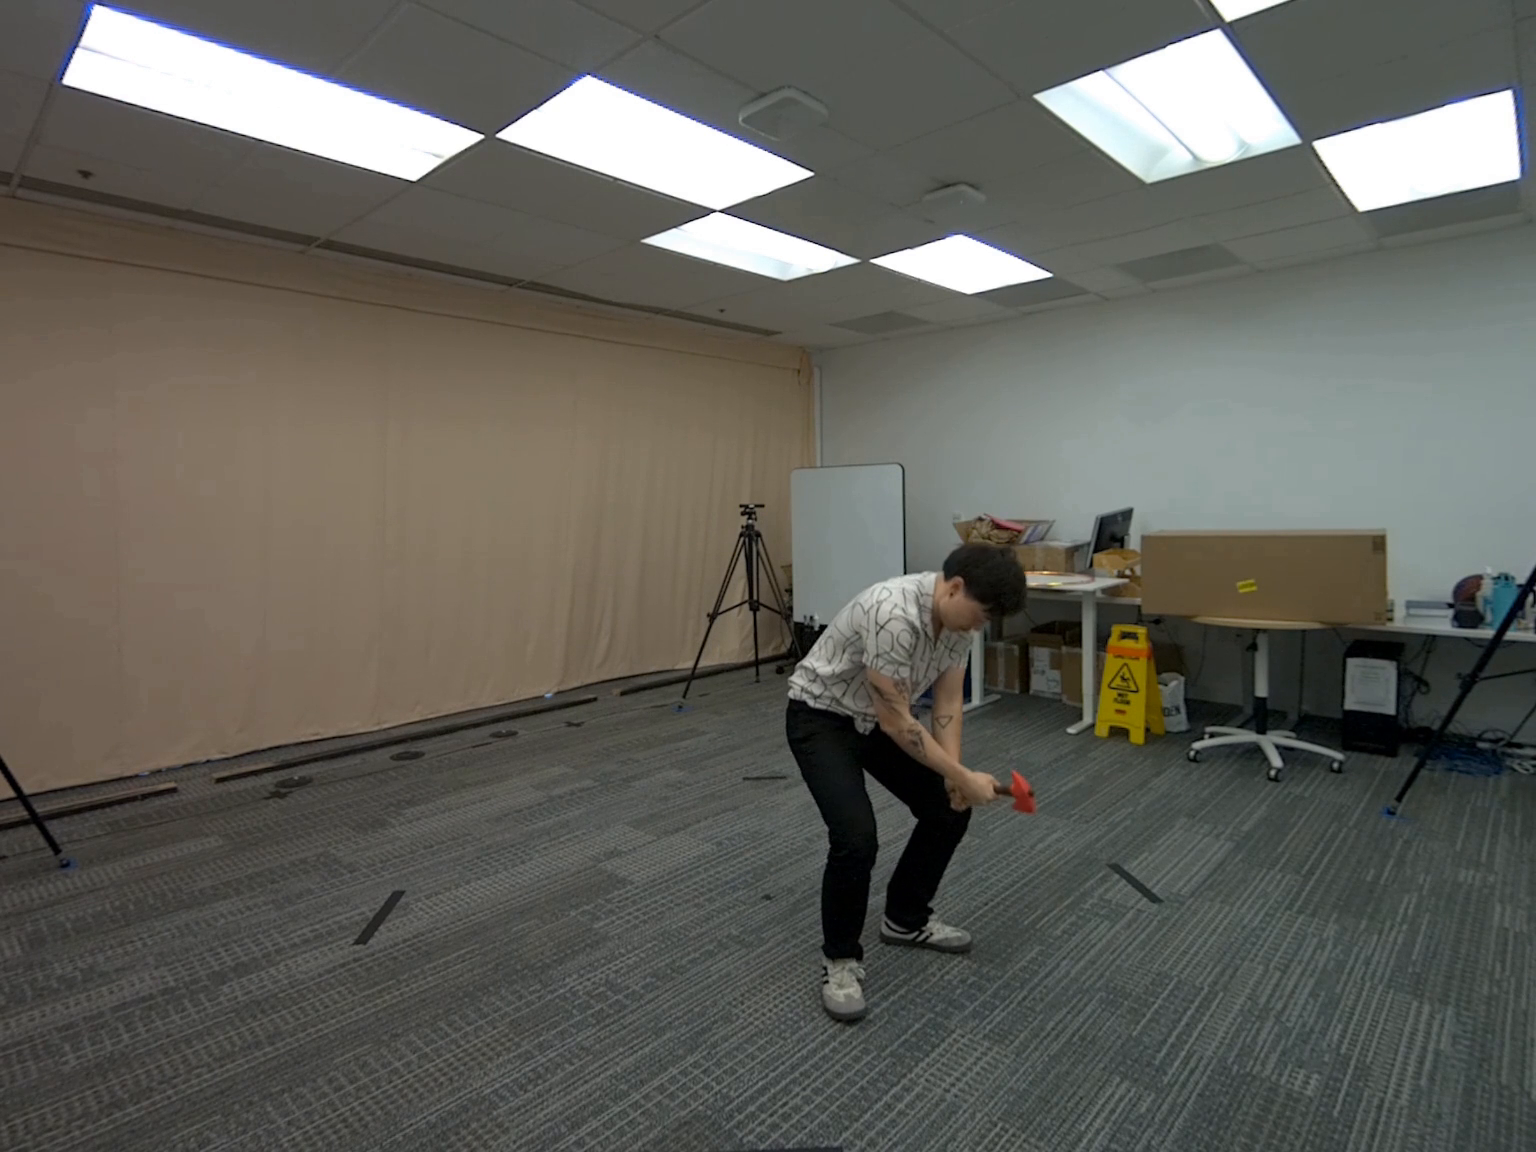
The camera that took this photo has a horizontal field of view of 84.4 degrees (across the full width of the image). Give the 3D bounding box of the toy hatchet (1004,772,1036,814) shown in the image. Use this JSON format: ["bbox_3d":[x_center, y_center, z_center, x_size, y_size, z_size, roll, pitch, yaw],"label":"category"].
[{"bbox_3d":[0.616,0.617,2.285,0.029,0.132,0.272,-39,-6,-45],"label":"toy hatchet"}]
